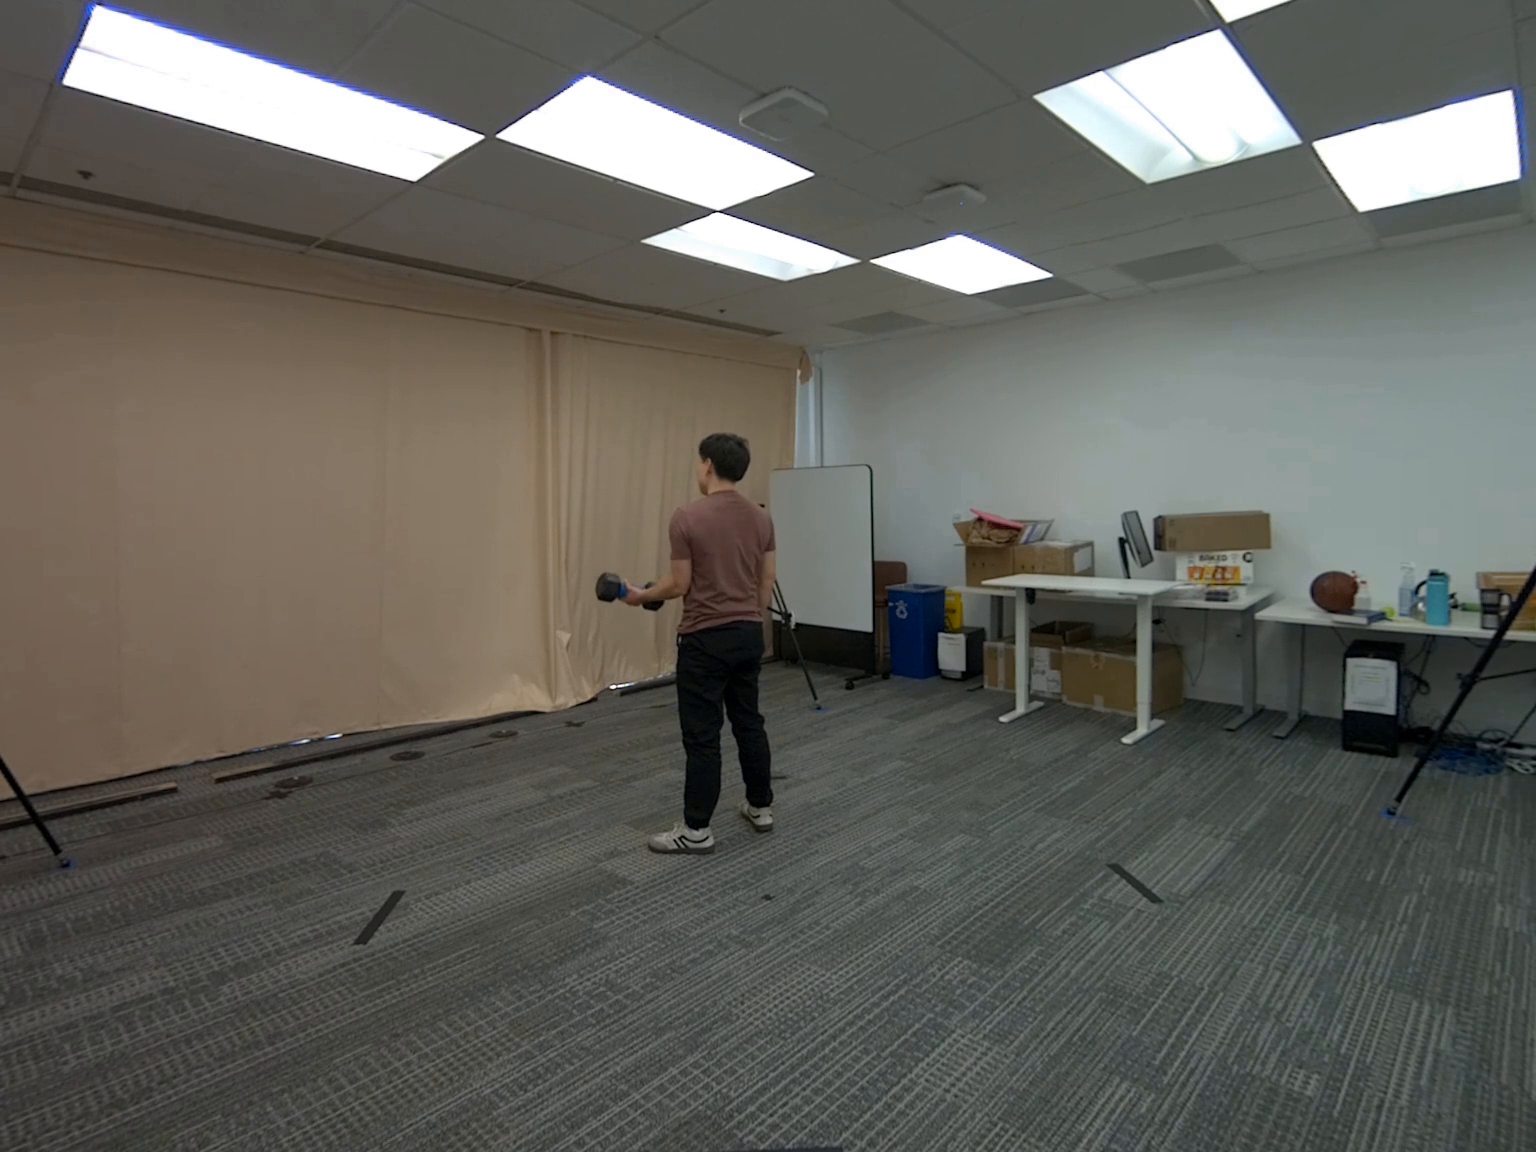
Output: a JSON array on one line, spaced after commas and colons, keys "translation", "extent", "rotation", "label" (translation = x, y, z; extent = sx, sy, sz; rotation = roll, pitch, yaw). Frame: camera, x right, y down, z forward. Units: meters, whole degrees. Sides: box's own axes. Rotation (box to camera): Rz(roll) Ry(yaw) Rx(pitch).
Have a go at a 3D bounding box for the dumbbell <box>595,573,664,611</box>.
[{"translation": [-0.581, 0.064, 3.613], "extent": [0.285, 0.110, 0.124], "rotation": [12, -33, -26], "label": "dumbbell"}]
